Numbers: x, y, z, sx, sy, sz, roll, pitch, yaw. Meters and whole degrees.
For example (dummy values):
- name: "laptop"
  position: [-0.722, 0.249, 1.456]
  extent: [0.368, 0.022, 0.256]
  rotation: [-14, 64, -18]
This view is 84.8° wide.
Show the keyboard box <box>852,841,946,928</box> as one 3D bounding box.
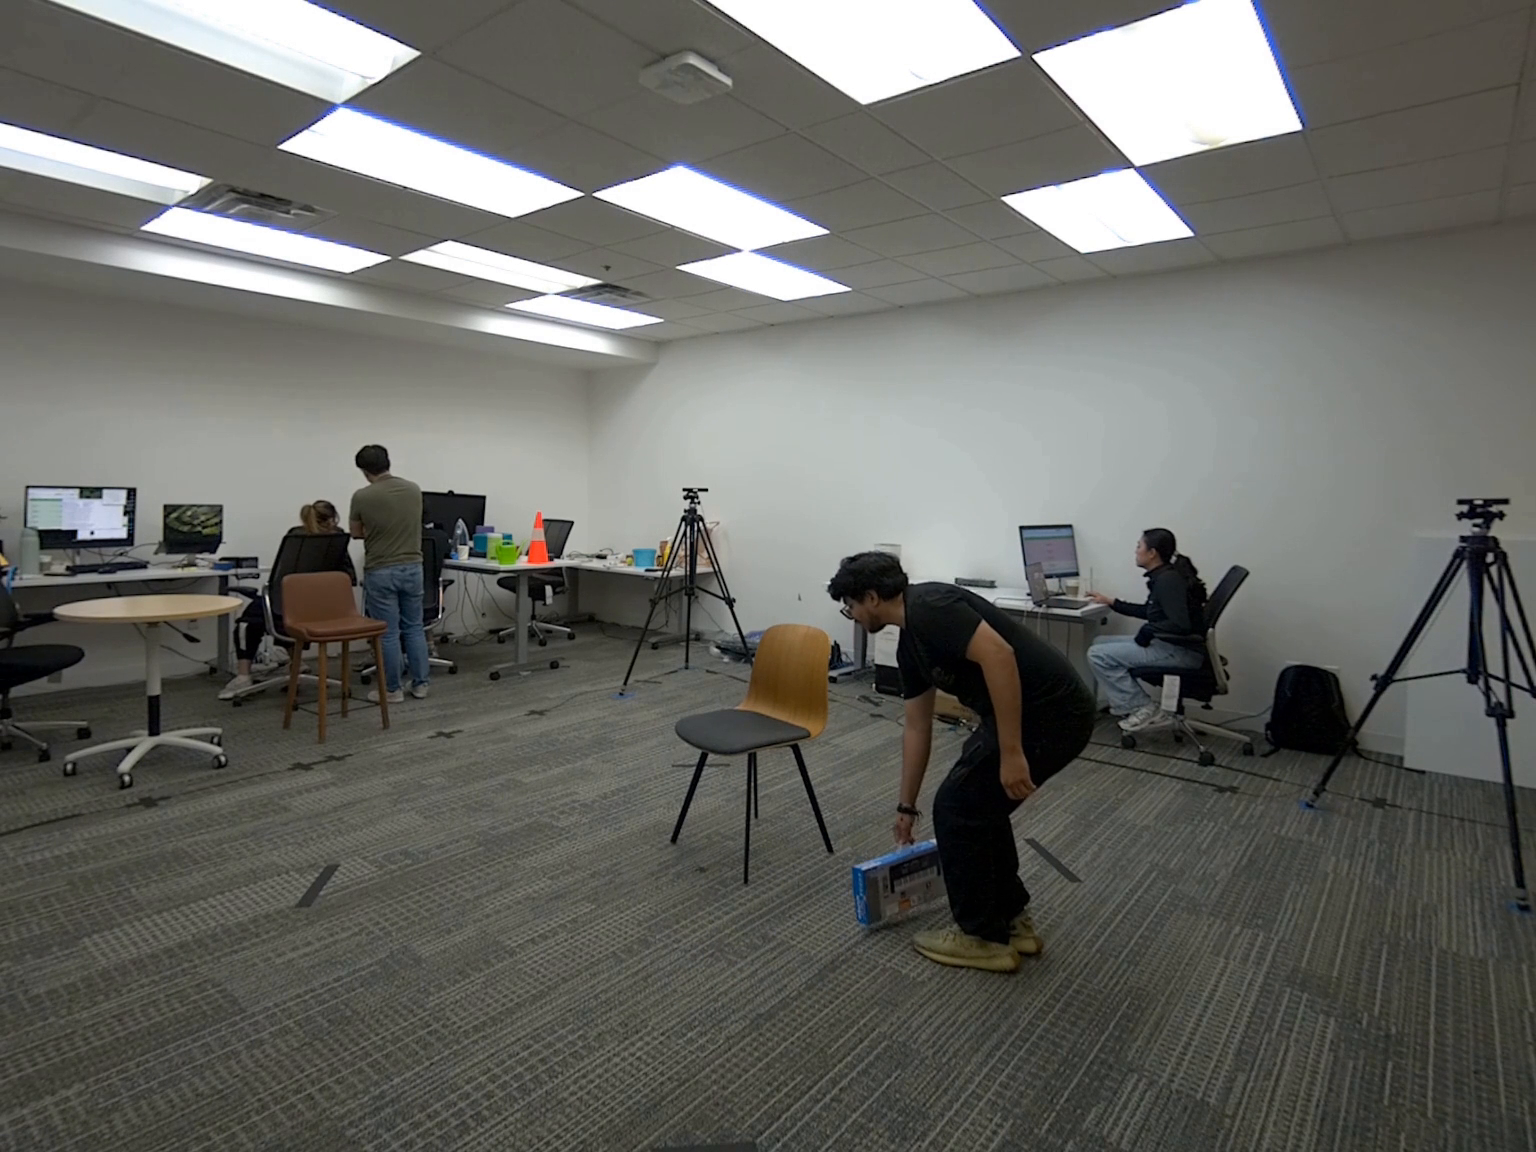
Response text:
- name: "keyboard box"
  position: [0.464, 0.984, 2.802]
  extent: [0.425, 0.176, 0.060]
  rotation: [-5, 0, -33]
